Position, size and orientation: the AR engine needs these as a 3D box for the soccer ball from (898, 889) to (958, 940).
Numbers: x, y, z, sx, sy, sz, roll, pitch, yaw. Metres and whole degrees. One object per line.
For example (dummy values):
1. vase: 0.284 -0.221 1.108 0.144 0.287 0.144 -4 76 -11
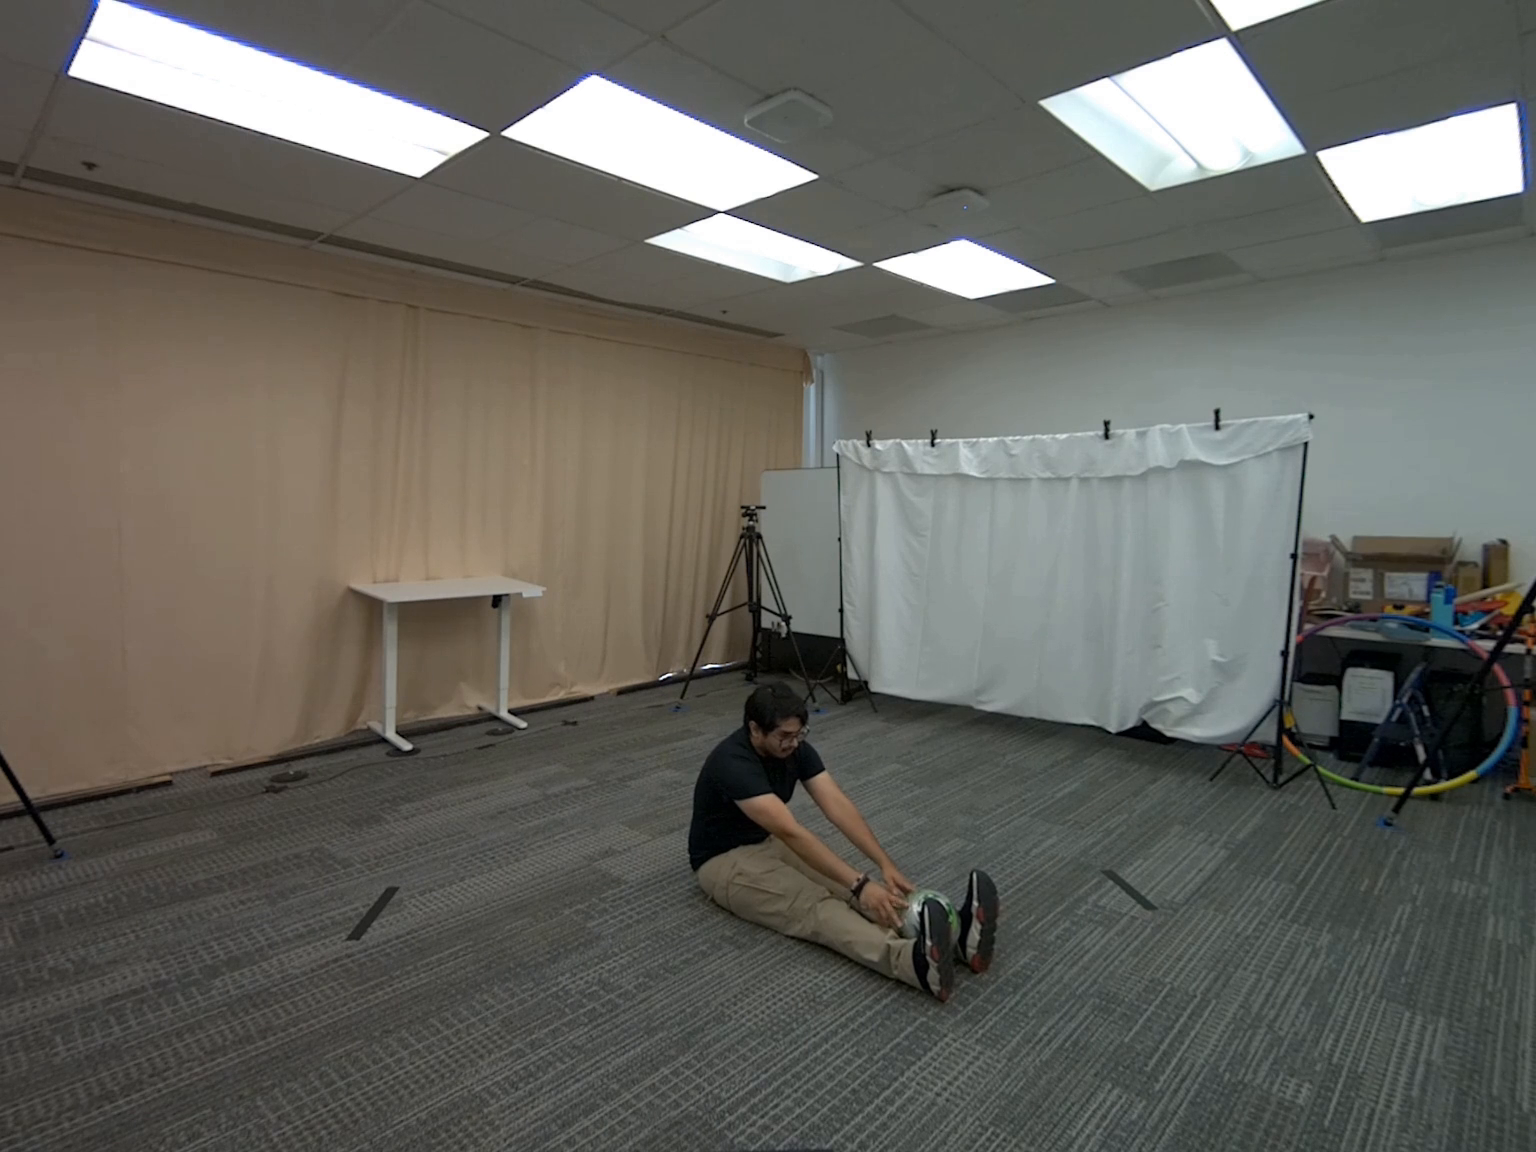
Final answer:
1. soccer ball: 0.496 1.045 2.515 0.187 0.187 0.188 0 4 -2
